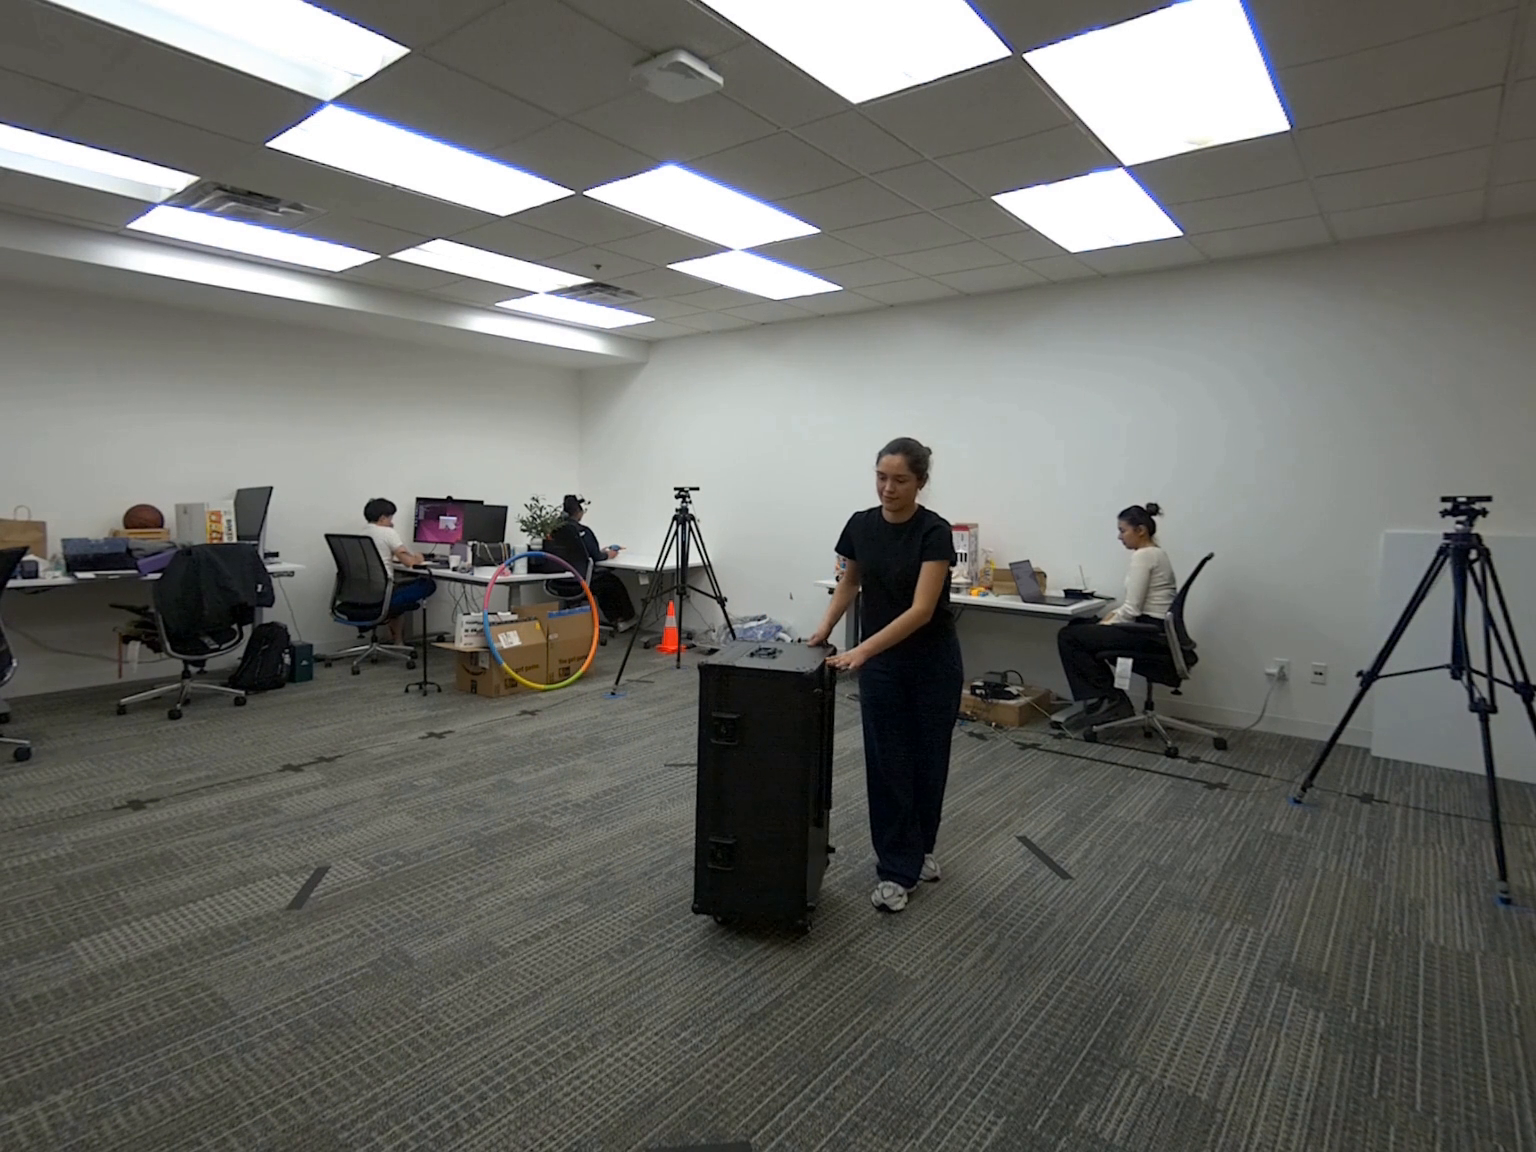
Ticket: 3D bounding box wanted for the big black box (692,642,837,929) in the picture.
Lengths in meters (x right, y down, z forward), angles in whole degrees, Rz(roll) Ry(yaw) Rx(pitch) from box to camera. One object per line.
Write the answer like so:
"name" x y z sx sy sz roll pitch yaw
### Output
"big black box" 0.018 0.674 2.807 0.403 0.859 0.514 2 3 14
